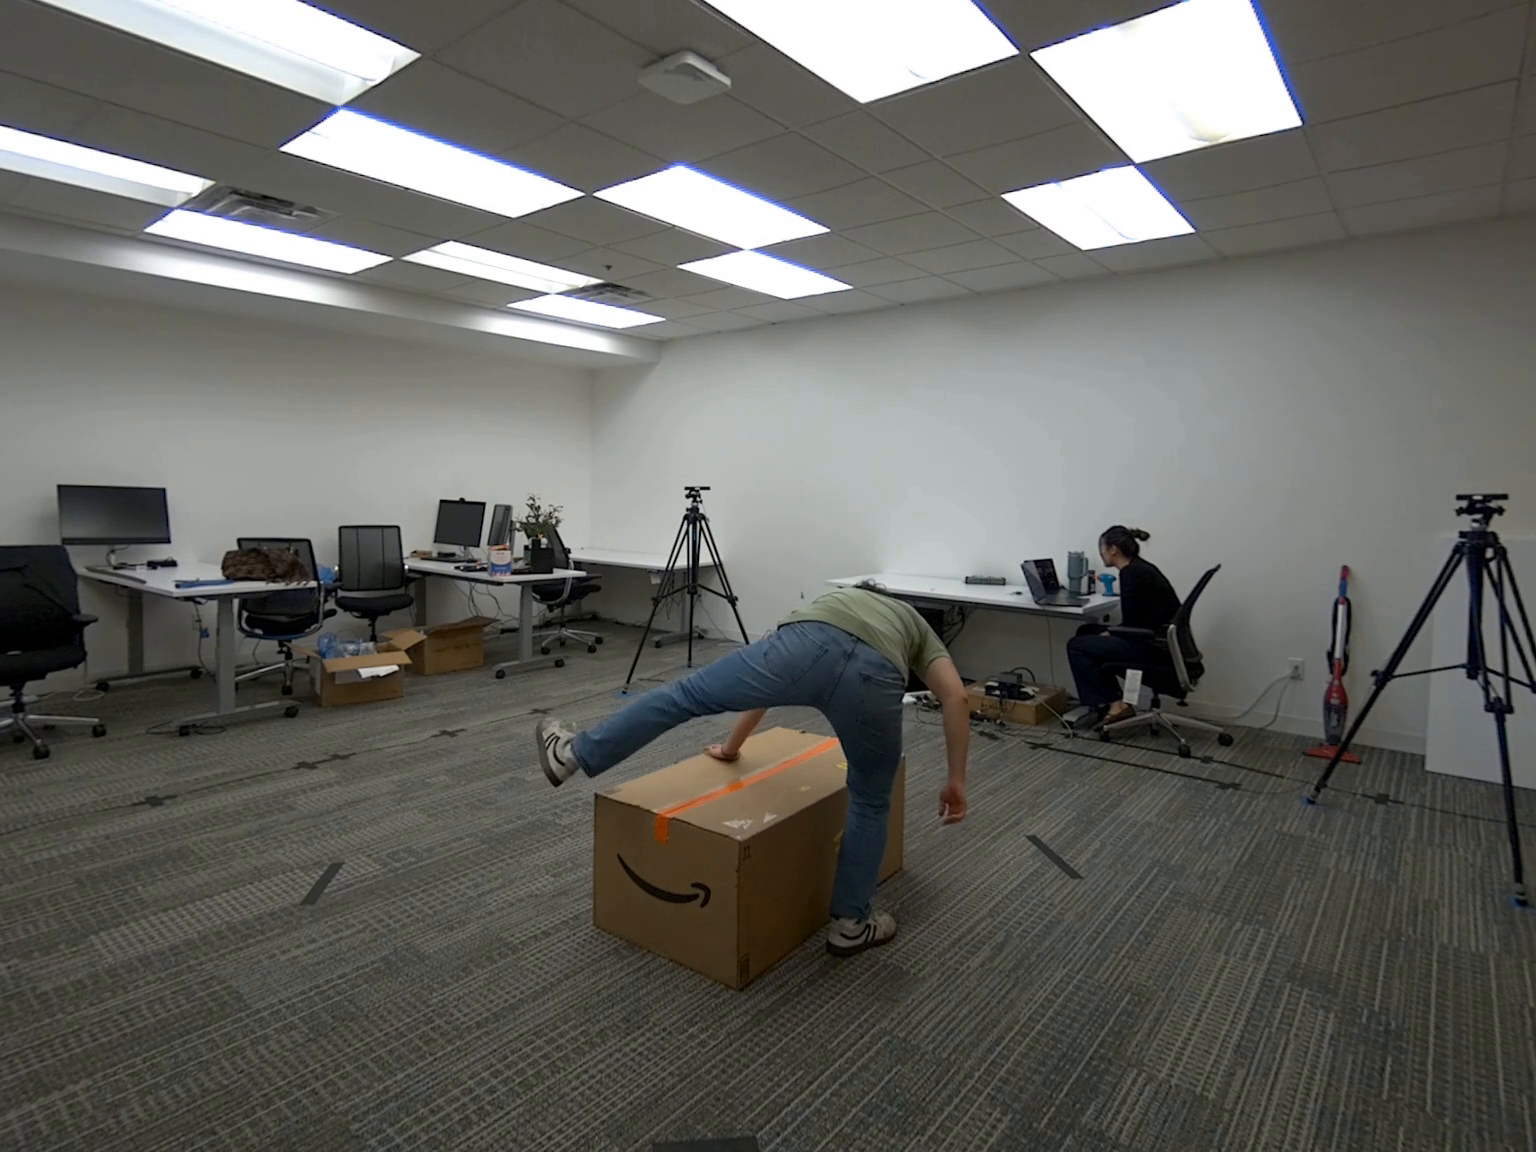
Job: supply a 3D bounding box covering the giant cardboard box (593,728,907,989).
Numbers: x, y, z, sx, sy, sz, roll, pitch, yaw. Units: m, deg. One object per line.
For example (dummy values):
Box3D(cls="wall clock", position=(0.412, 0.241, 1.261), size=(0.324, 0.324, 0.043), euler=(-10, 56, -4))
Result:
Box3D(cls="giant cardboard box", position=(-0.036, 0.876, 2.904), size=(0.596, 0.424, 0.997), euler=(5, 6, 36))
